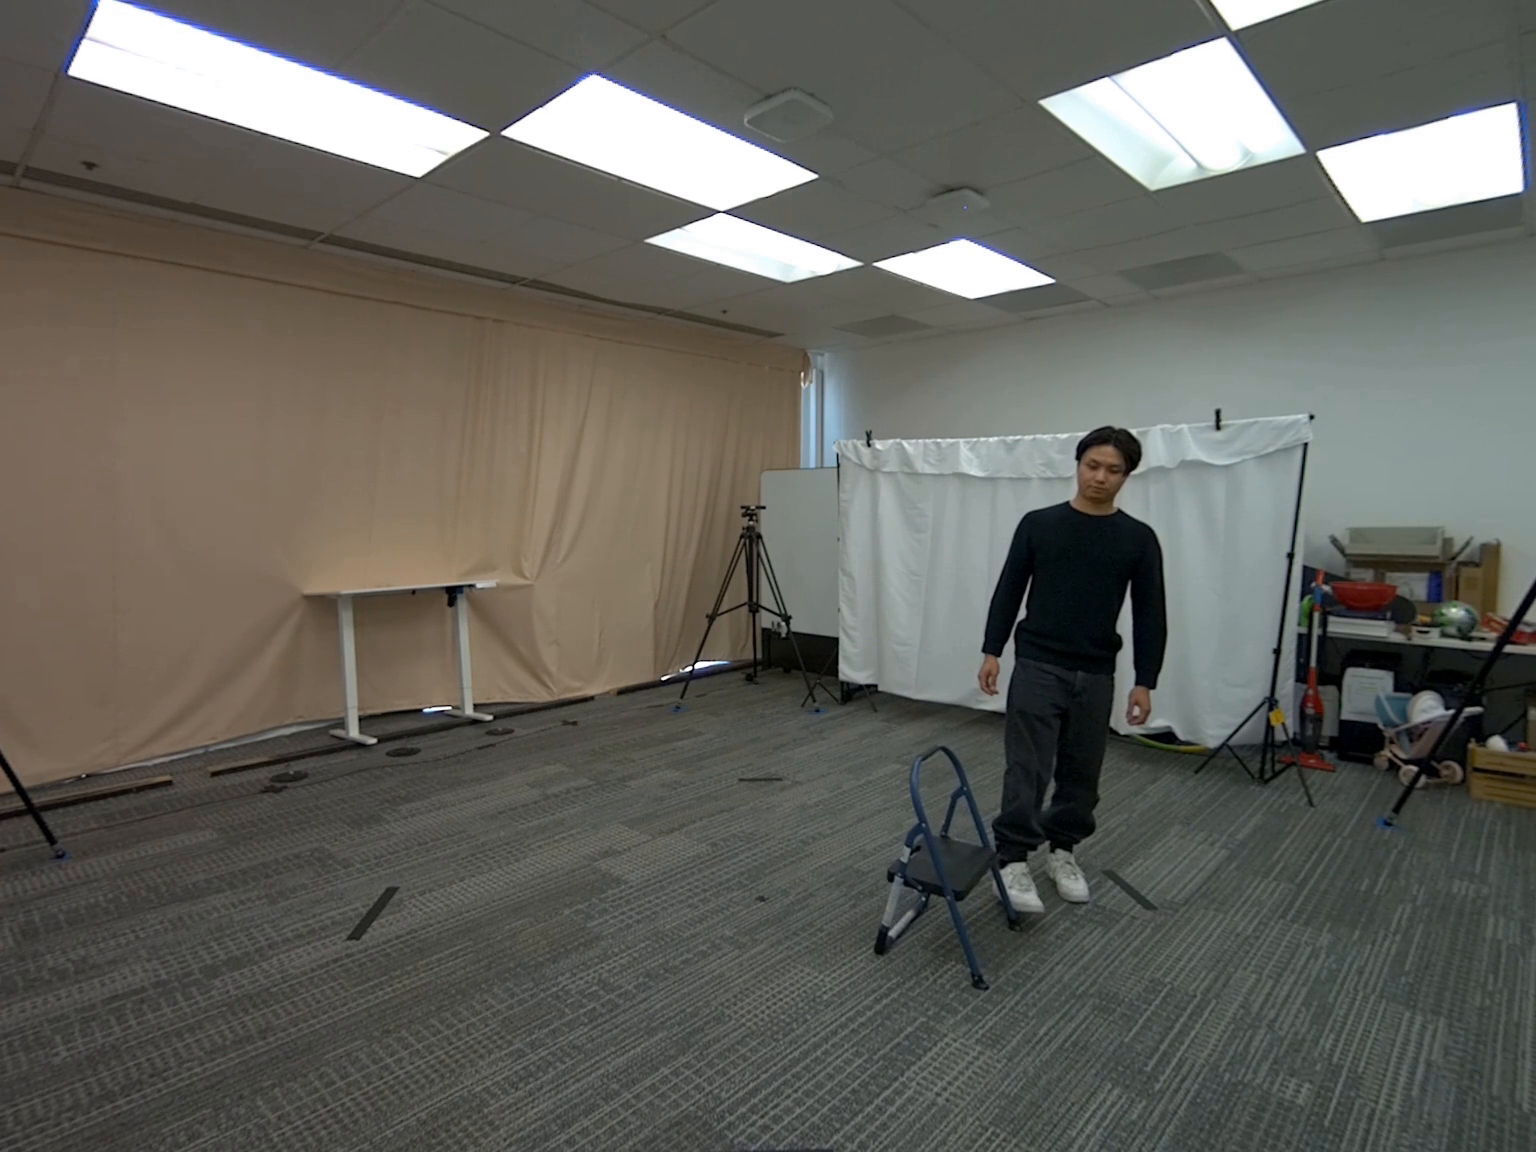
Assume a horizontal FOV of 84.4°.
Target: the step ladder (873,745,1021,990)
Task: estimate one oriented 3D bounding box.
[{"bbox_3d":[0.589,0.866,2.669,0.360,0.605,0.419,3,4,32],"label":"step ladder"}]
